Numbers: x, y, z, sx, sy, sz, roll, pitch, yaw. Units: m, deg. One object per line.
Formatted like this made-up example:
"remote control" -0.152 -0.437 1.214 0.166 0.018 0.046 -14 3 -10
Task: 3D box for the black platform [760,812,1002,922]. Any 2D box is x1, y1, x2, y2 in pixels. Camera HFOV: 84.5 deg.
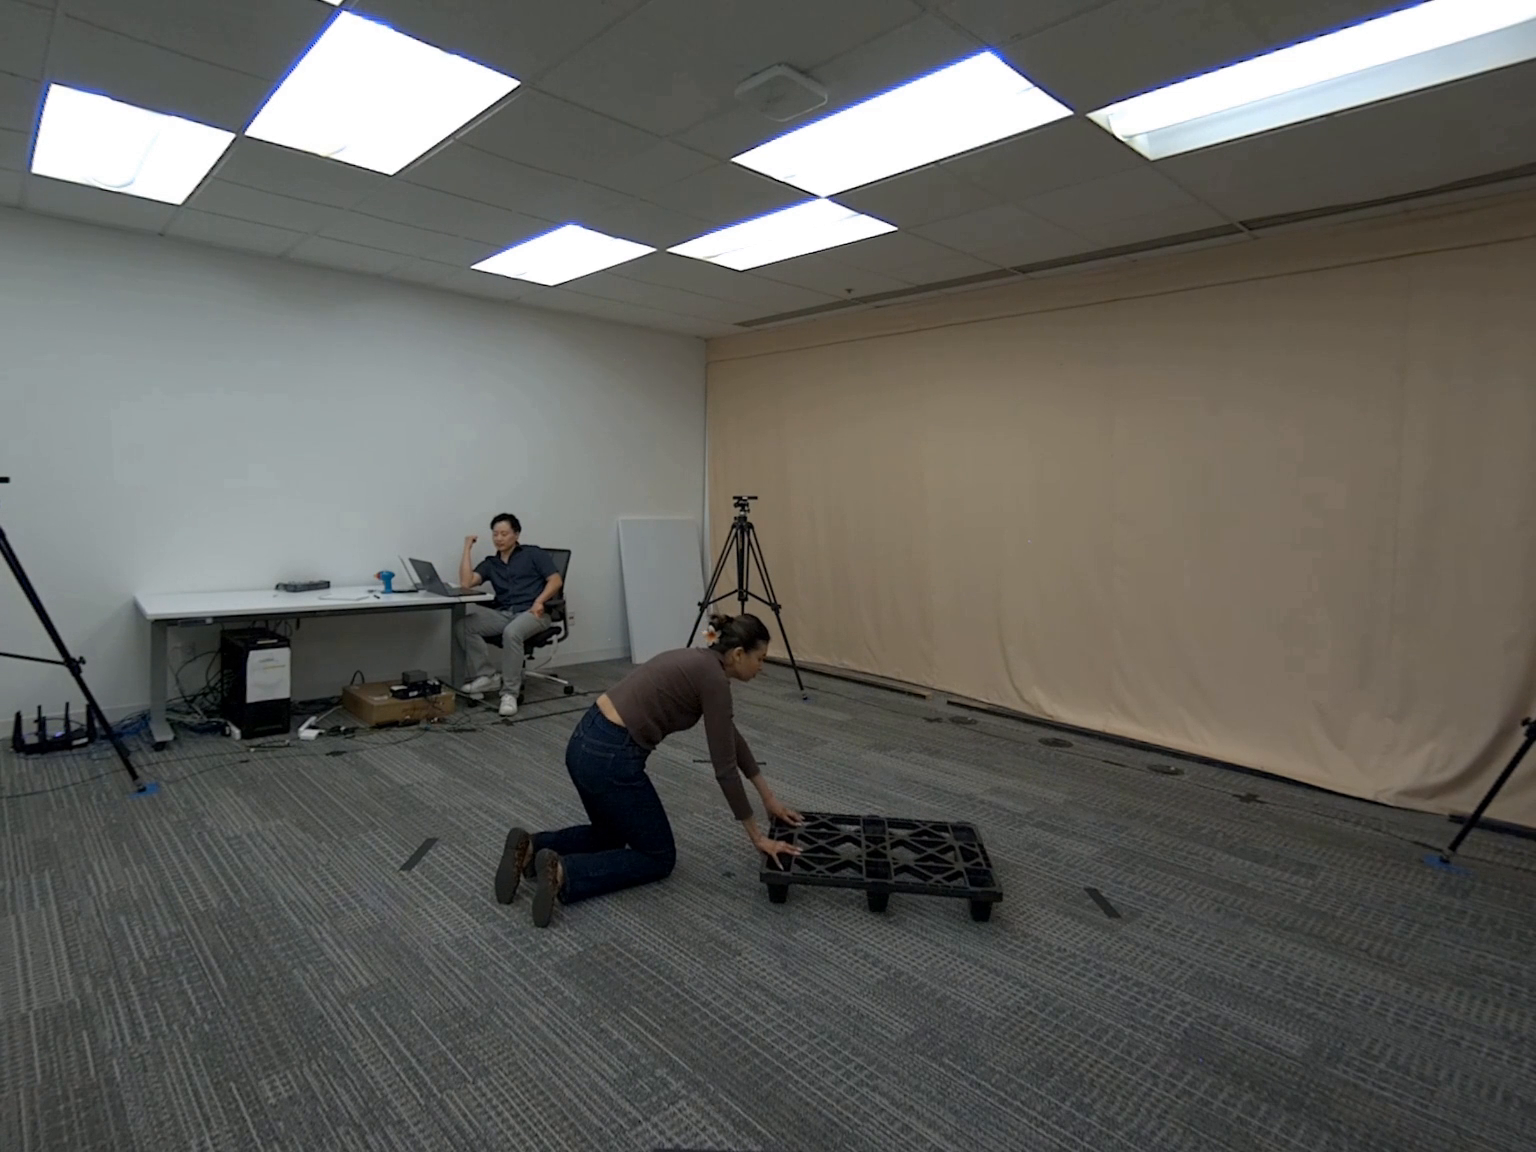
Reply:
"black platform" 0.380 1.050 3.079 0.810 0.143 0.603 2 4 6
